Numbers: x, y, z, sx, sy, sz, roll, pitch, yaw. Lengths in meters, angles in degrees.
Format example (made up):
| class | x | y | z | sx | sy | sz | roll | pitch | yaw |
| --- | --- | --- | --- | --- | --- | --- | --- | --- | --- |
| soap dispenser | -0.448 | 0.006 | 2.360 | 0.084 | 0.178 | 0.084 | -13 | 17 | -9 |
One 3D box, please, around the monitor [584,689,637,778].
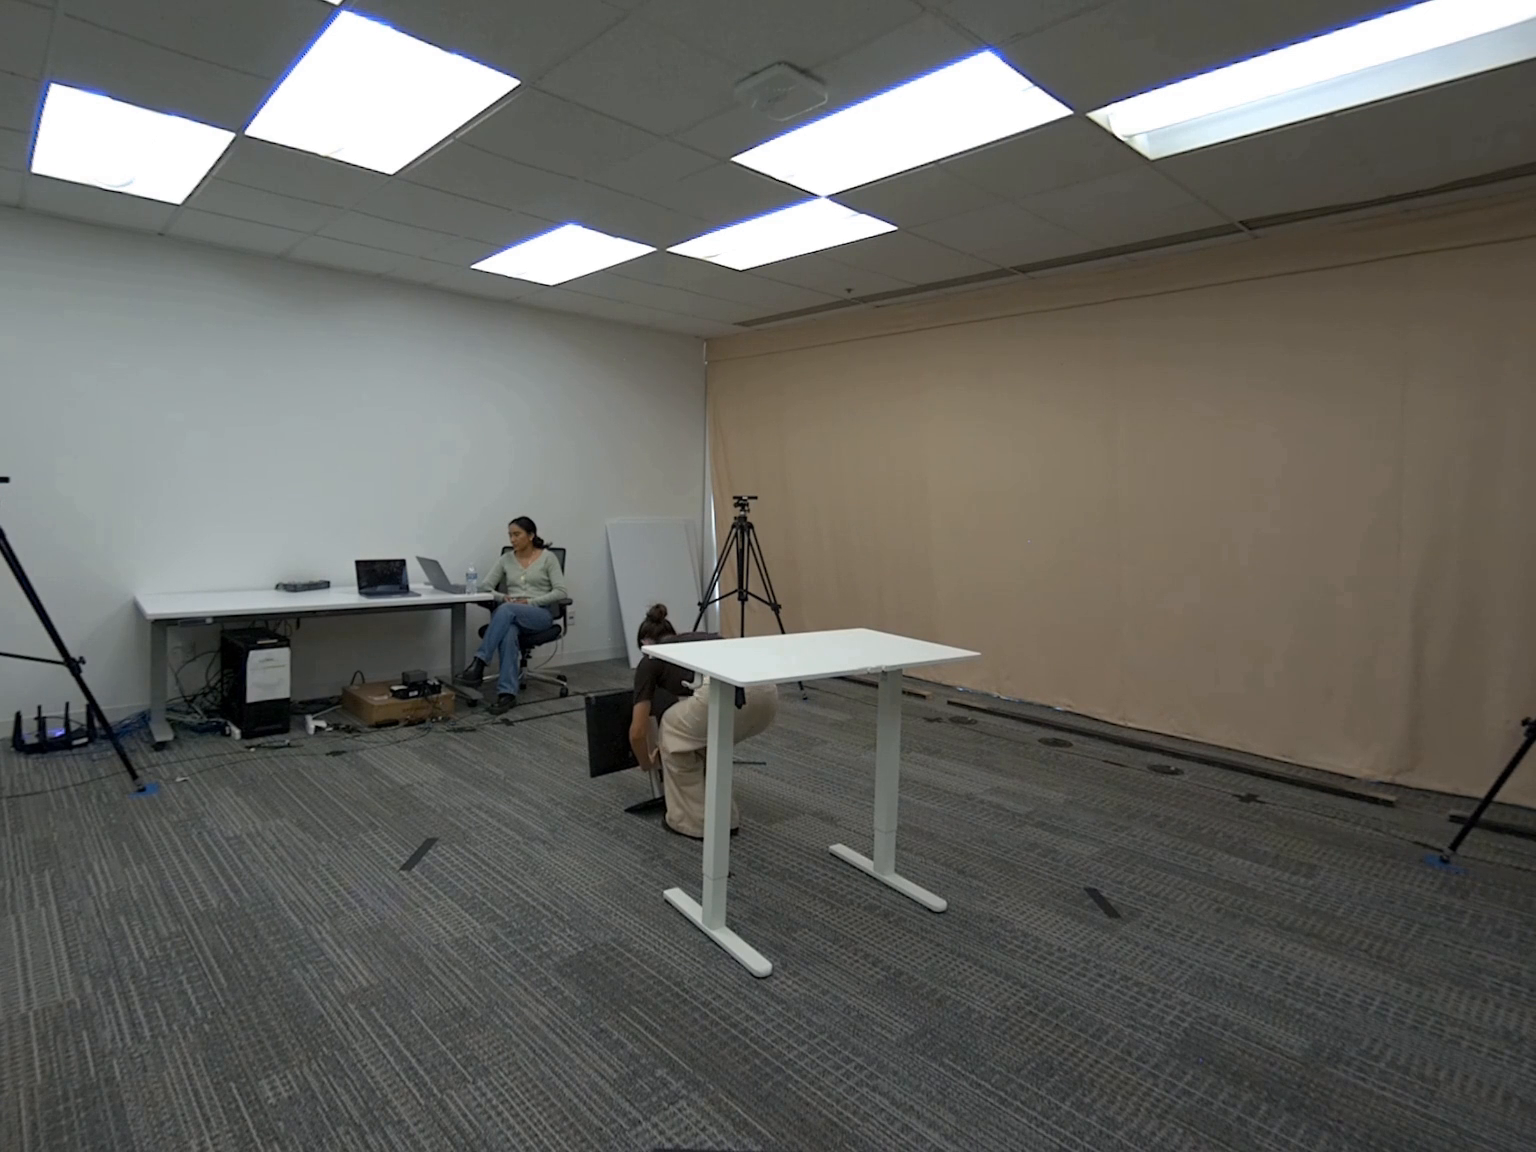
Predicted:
| class | x | y | z | sx | sy | sz | roll | pitch | yaw |
| --- | --- | --- | --- | --- | --- | --- | --- | --- | --- |
| monitor | -0.561 | 0.763 | 3.813 | 0.527 | 0.529 | 0.189 | -2 | -19 | -46 |
